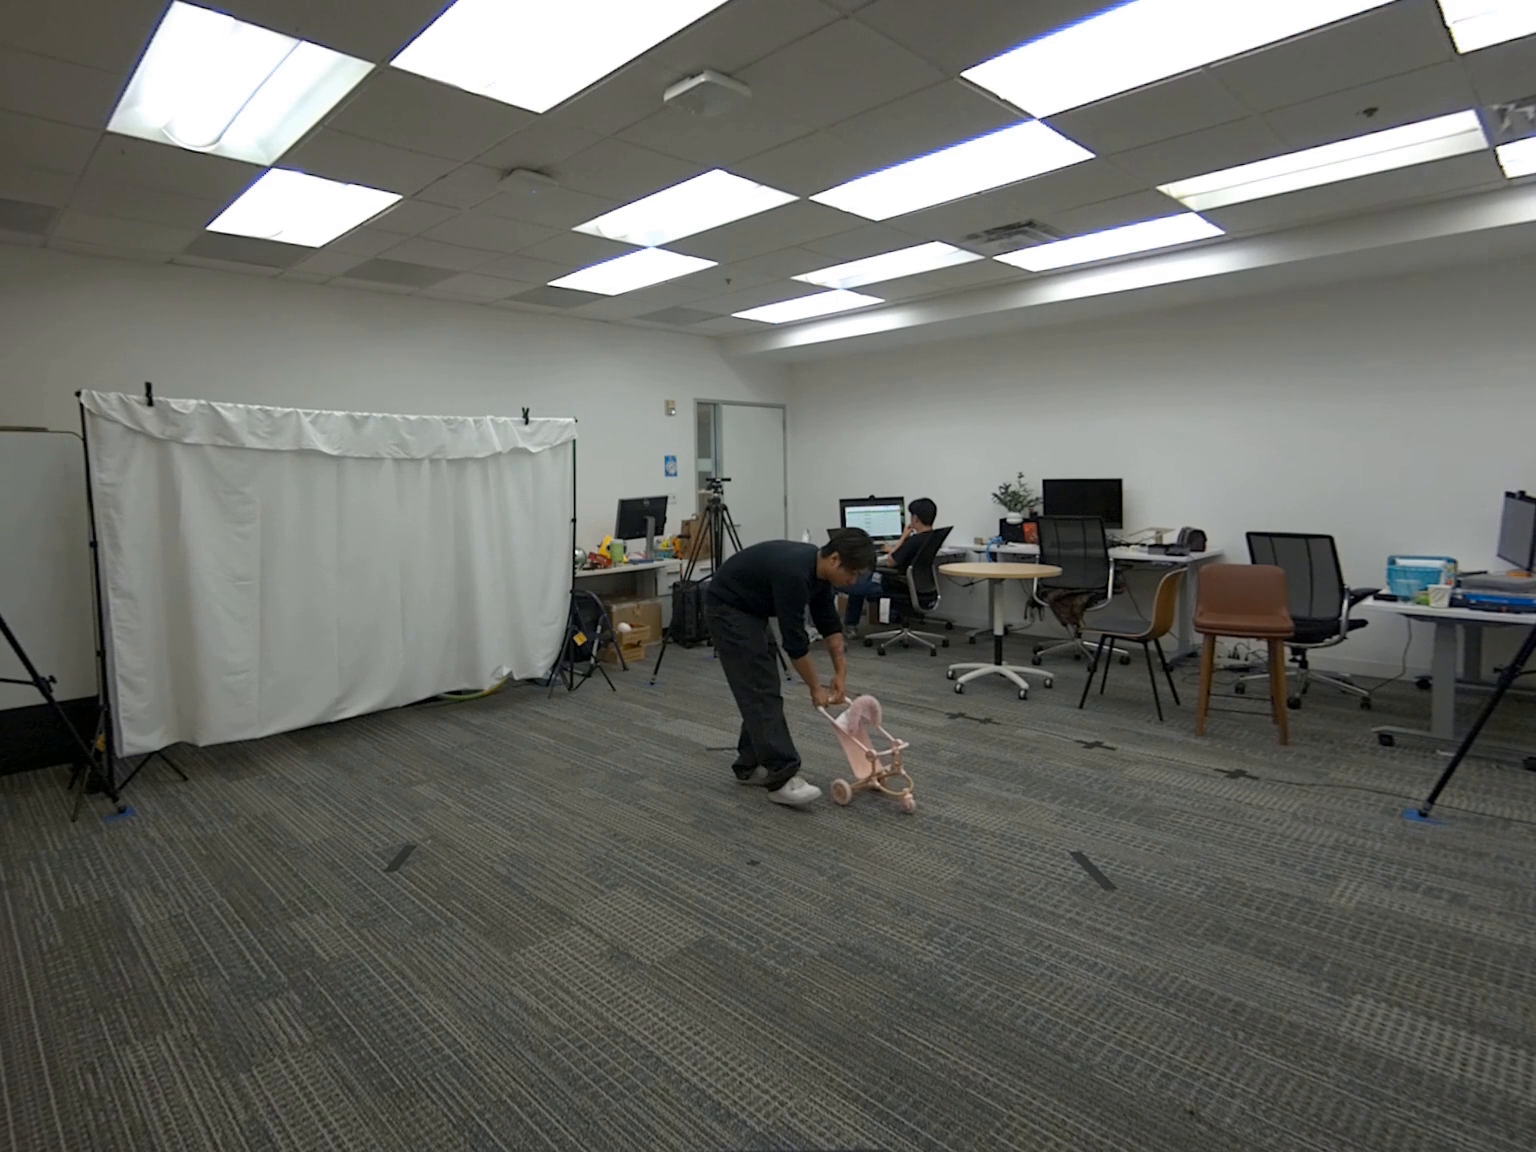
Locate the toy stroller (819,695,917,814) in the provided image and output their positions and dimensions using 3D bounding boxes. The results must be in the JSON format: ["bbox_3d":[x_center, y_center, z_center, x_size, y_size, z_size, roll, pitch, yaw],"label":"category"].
[{"bbox_3d":[0.439,0.749,3.668,0.274,0.541,0.346,-6,-12,-39],"label":"toy stroller"}]
